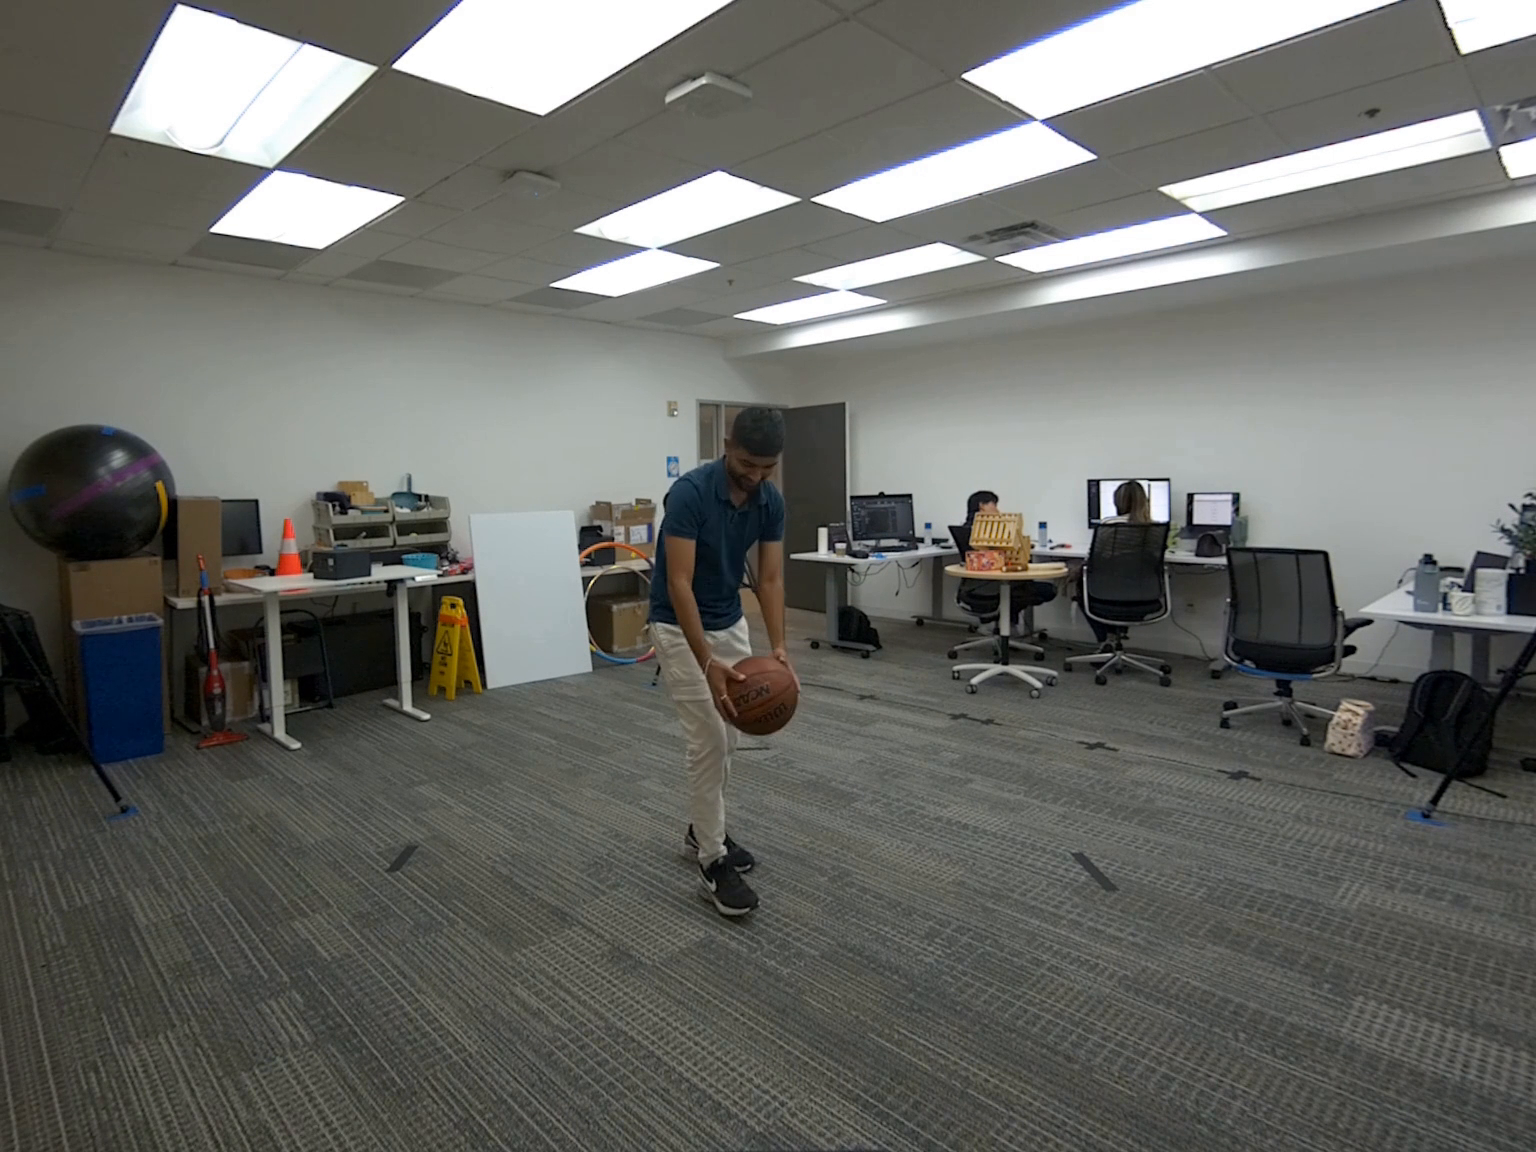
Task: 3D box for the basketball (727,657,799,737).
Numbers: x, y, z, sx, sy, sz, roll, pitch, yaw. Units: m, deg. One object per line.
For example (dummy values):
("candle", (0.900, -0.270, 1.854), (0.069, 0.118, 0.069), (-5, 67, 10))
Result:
("basketball", (-0.019, 0.371, 2.600), (0.236, 0.235, 0.237), (-1, 5, -2))
